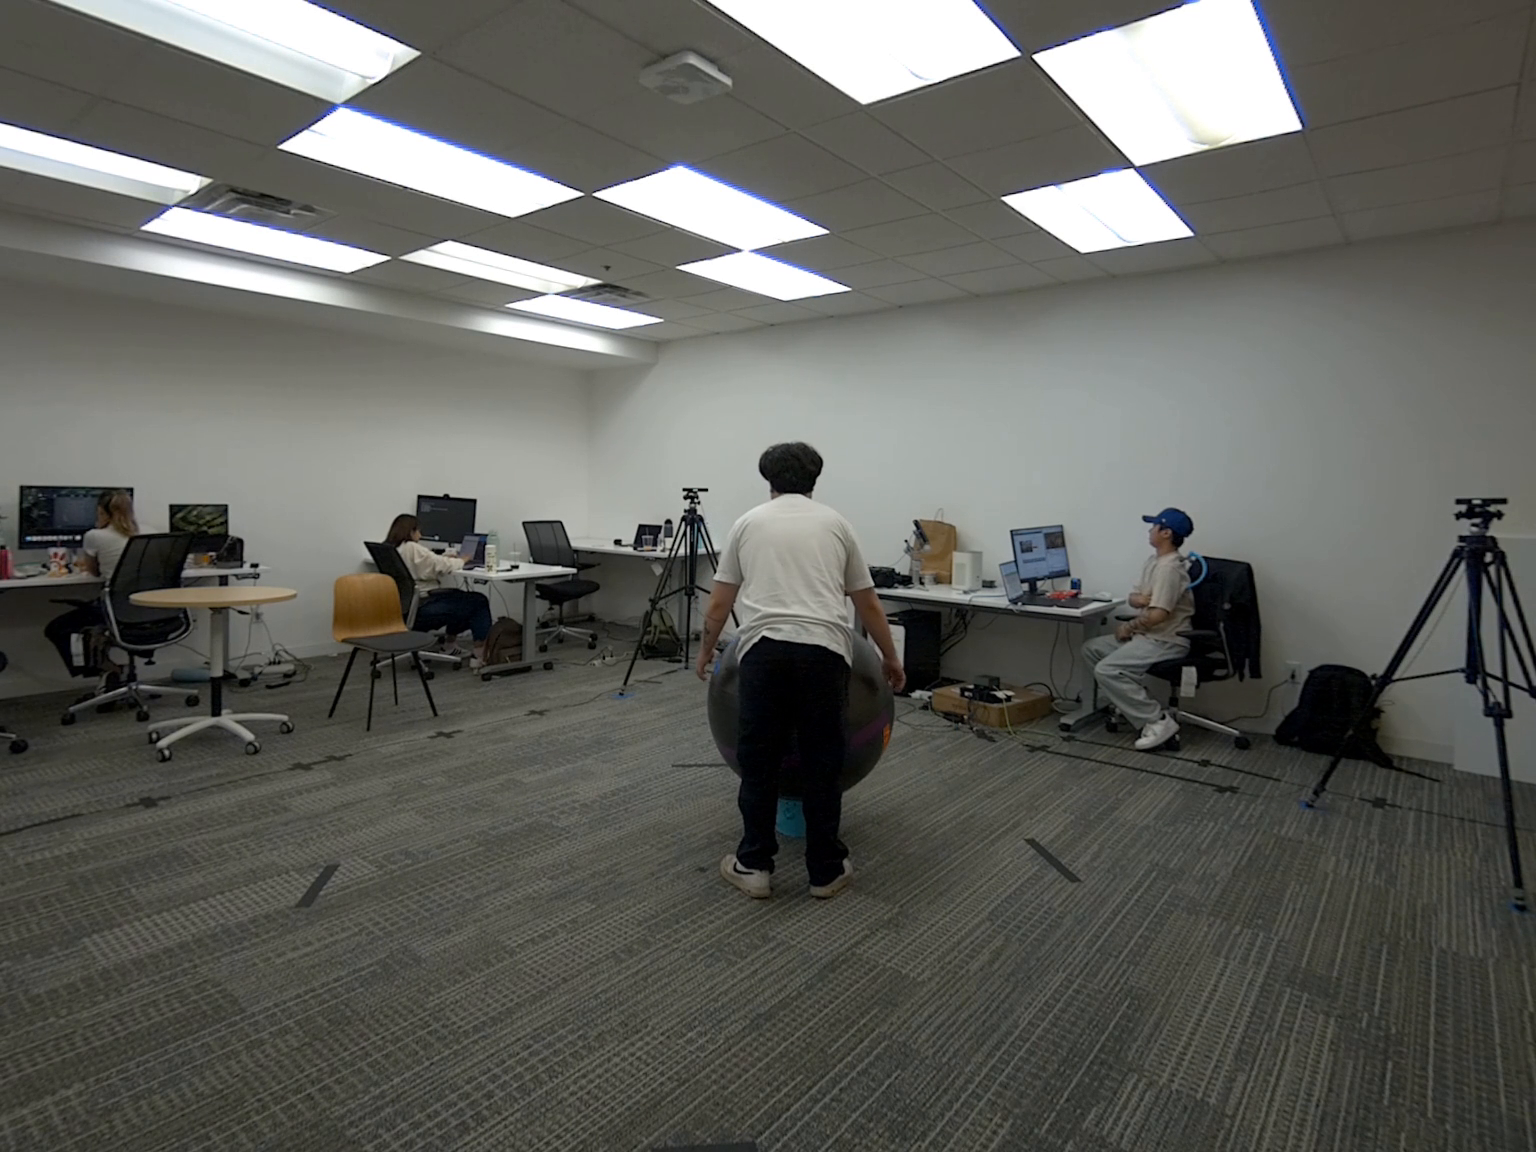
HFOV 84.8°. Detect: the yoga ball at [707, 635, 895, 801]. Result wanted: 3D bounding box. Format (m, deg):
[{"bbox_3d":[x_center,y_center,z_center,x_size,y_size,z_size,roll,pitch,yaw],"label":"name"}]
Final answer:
[{"bbox_3d":[0.130,0.526,3.483,0.757,0.755,0.762,1,4,-2],"label":"yoga ball"}]
